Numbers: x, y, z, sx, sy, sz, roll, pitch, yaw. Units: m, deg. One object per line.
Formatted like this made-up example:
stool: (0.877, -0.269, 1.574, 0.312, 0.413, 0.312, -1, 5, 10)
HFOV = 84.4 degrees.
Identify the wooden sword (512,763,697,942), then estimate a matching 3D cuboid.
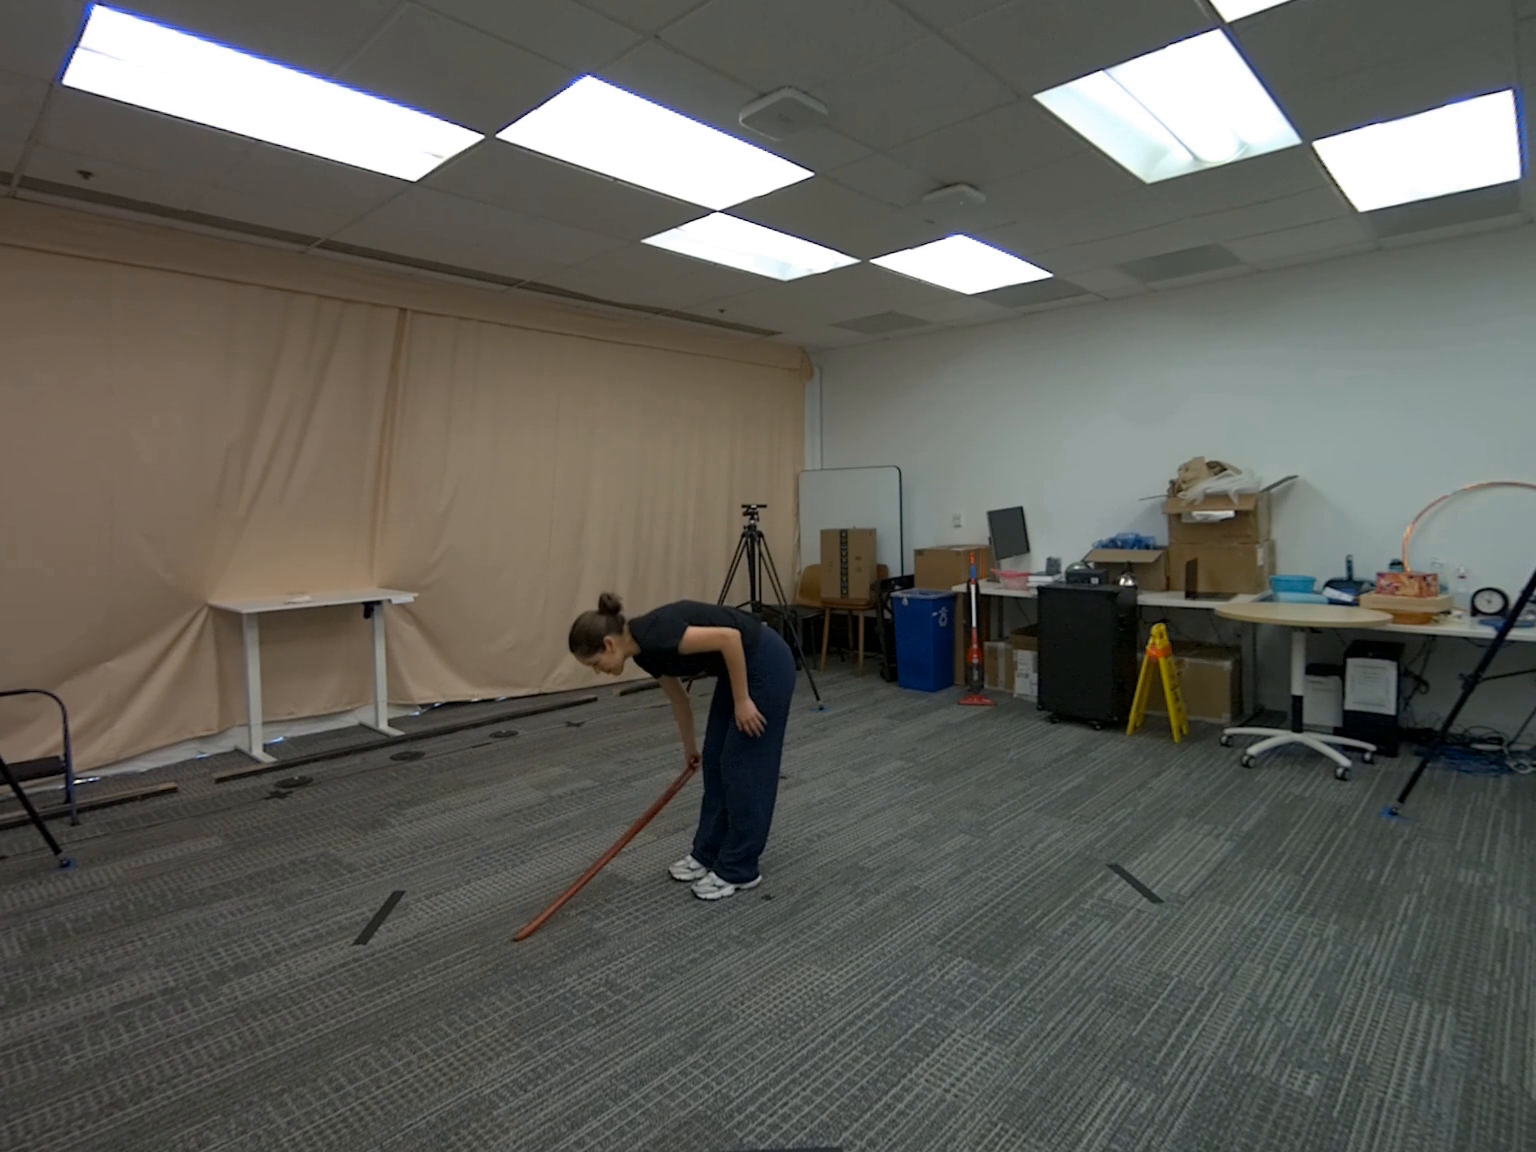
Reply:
wooden sword: (-0.530, 0.970, 3.089, 0.024, 0.051, 1.009, -22, 10, 41)
